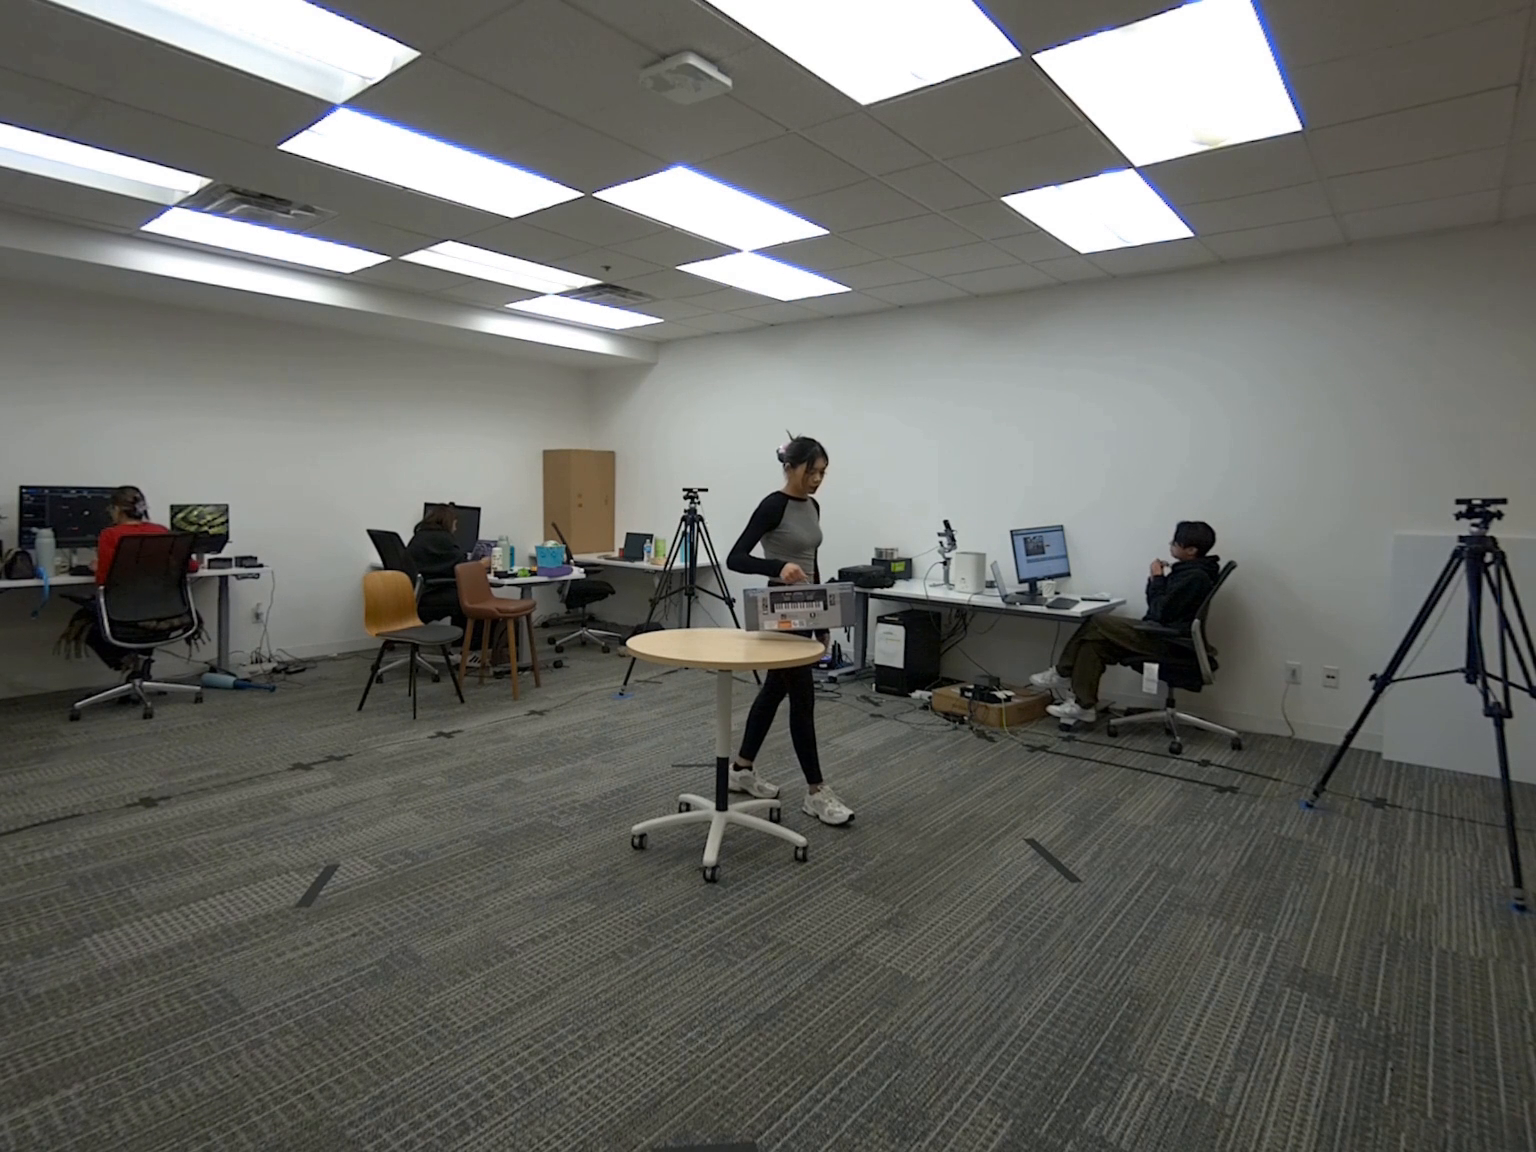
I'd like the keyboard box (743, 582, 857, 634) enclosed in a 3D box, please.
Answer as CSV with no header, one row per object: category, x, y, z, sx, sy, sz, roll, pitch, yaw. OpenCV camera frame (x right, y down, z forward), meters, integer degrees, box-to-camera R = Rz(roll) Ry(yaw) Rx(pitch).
keyboard box,0.118,0.114,3.387,0.440,0.176,0.058,-1,-1,8
